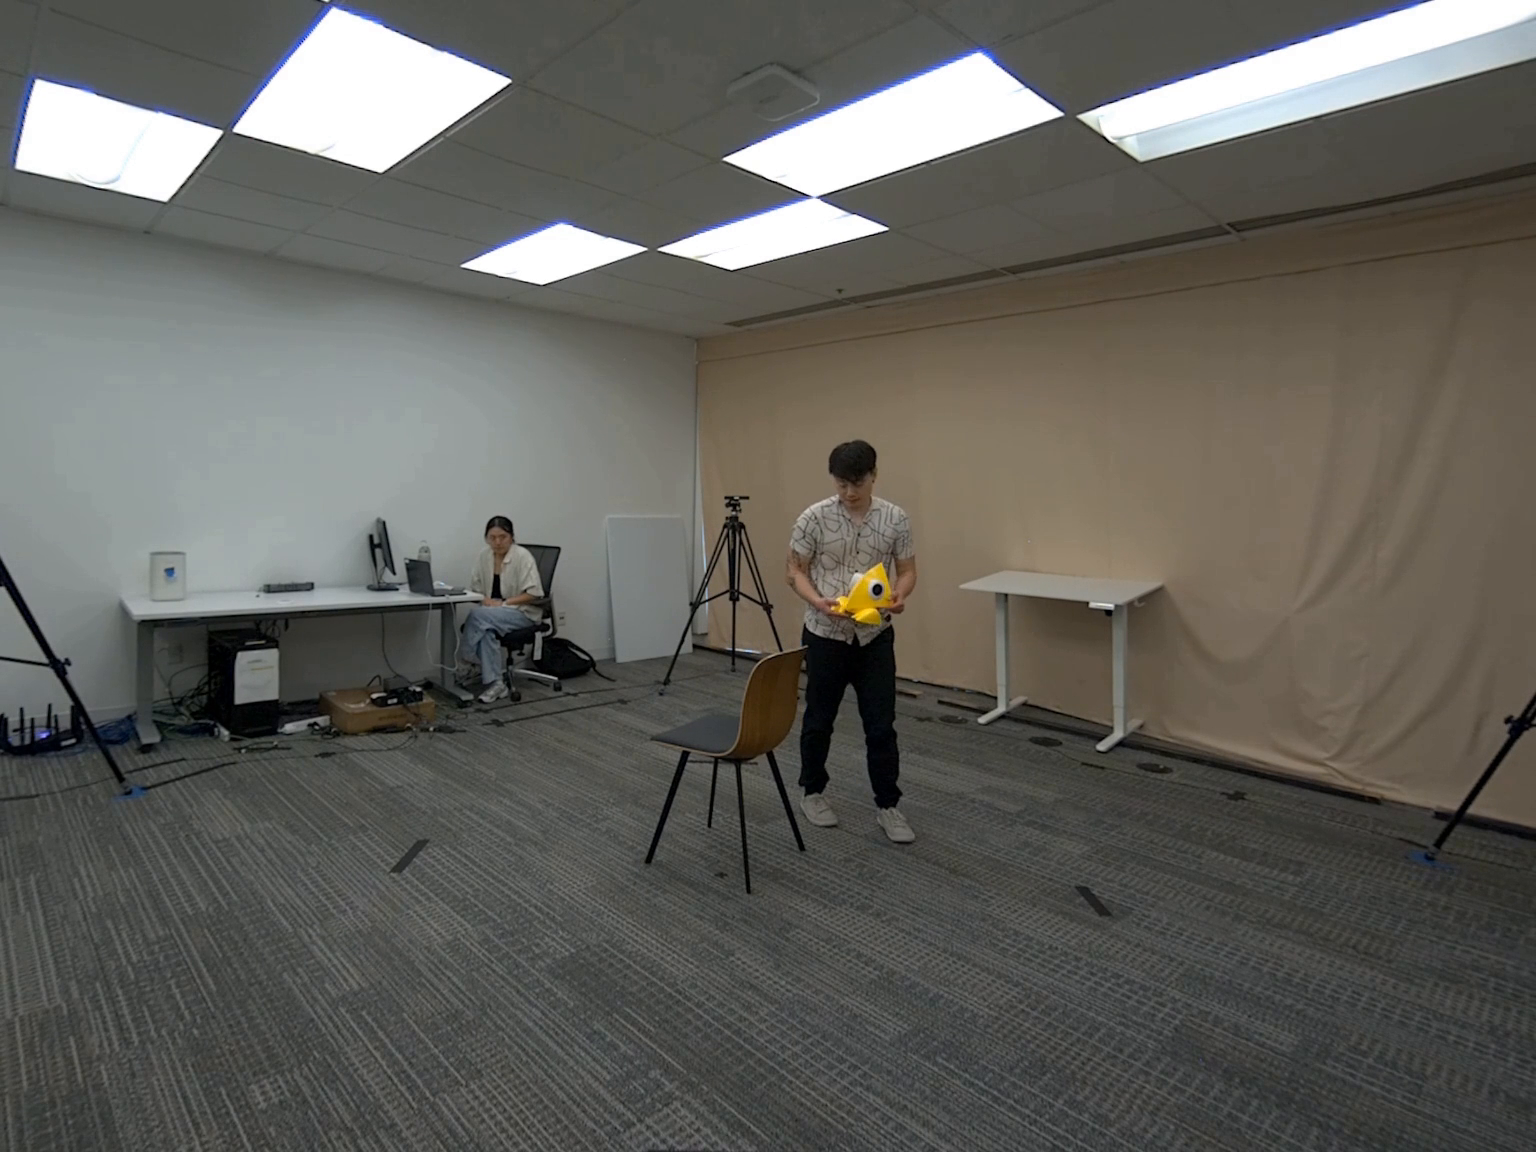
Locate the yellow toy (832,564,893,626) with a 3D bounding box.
[{"bbox_3d":[0.378,0.054,3.377,0.211,0.230,0.188,21,9,41],"label":"yellow toy"}]
